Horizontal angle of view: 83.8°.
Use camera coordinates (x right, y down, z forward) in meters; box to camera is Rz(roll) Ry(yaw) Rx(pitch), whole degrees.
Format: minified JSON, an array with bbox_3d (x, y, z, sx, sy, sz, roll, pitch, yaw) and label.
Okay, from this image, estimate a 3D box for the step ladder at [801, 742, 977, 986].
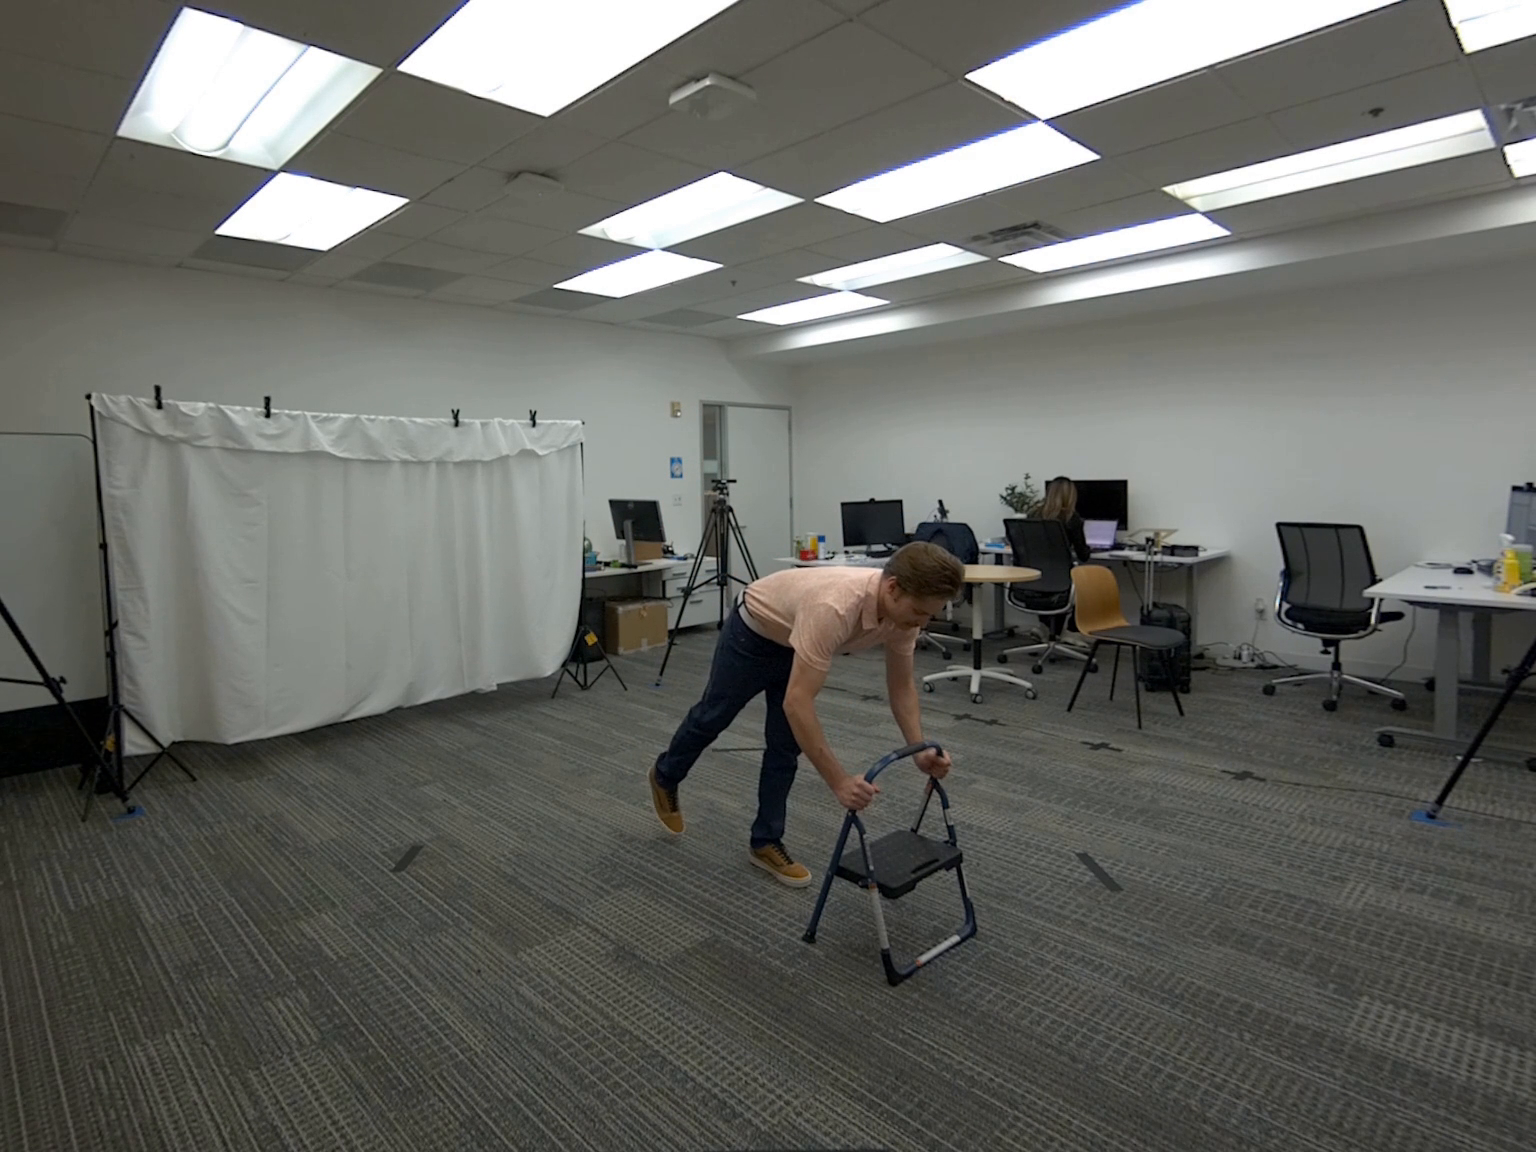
[{"bbox_3d":[0.373,0.797,2.585,0.419,0.604,0.360,-5,6,-43],"label":"step ladder"}]
